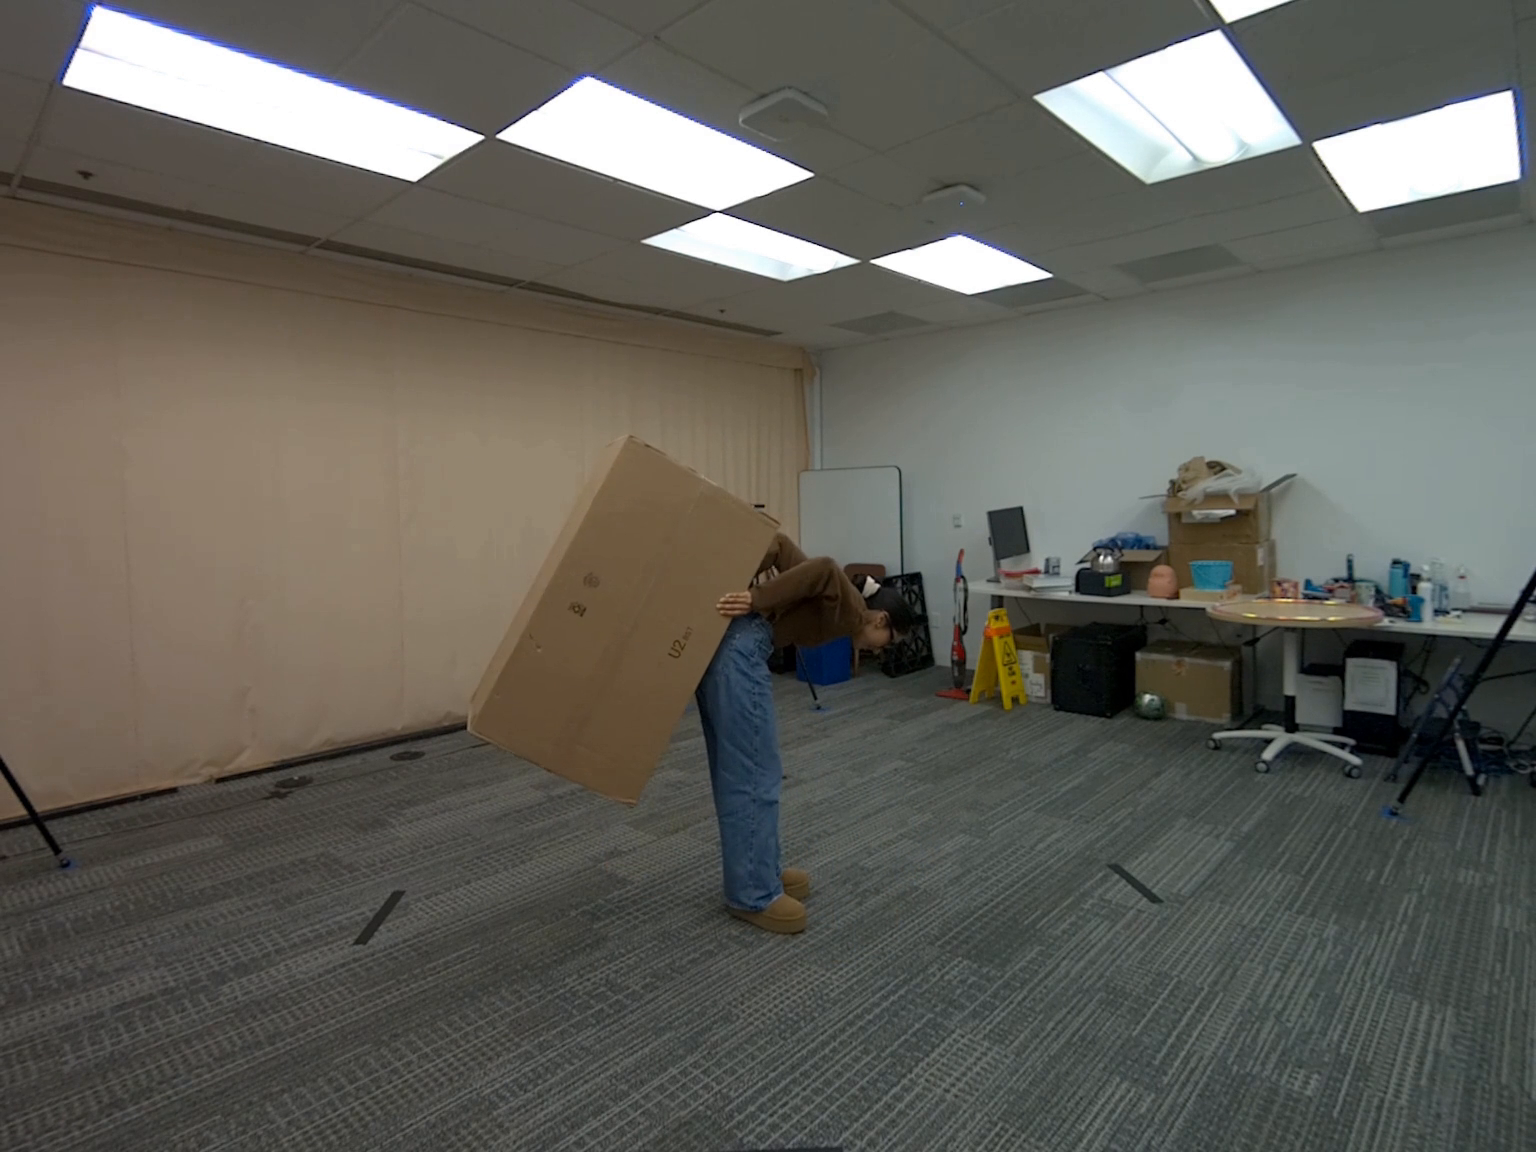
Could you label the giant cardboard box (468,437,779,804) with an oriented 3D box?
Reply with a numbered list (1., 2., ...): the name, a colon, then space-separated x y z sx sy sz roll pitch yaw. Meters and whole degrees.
1. giant cardboard box: -0.487 0.136 2.808 0.572 1.027 0.456 29 -5 -17
